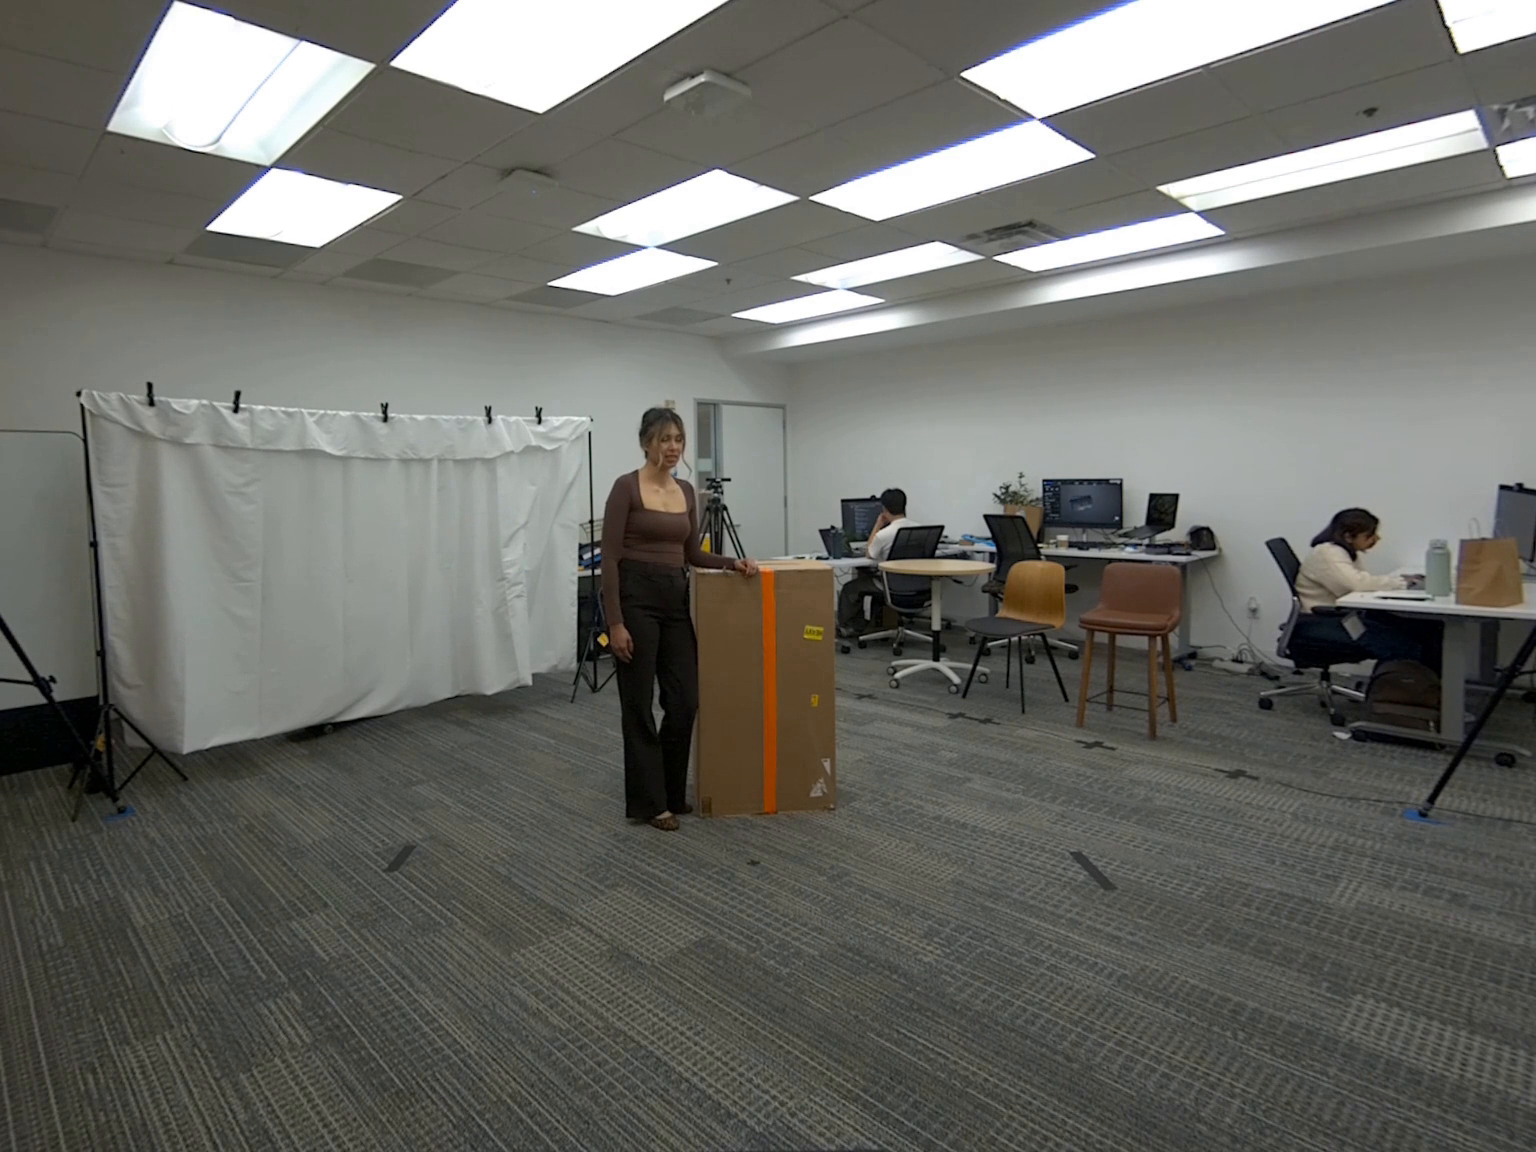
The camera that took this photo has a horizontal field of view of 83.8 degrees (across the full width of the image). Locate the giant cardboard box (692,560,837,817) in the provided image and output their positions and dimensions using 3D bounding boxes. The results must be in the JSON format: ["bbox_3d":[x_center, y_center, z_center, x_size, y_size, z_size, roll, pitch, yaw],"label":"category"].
[{"bbox_3d":[-0.029,0.462,3.738,0.579,1.023,0.452,-1,4,-8],"label":"giant cardboard box"}]
